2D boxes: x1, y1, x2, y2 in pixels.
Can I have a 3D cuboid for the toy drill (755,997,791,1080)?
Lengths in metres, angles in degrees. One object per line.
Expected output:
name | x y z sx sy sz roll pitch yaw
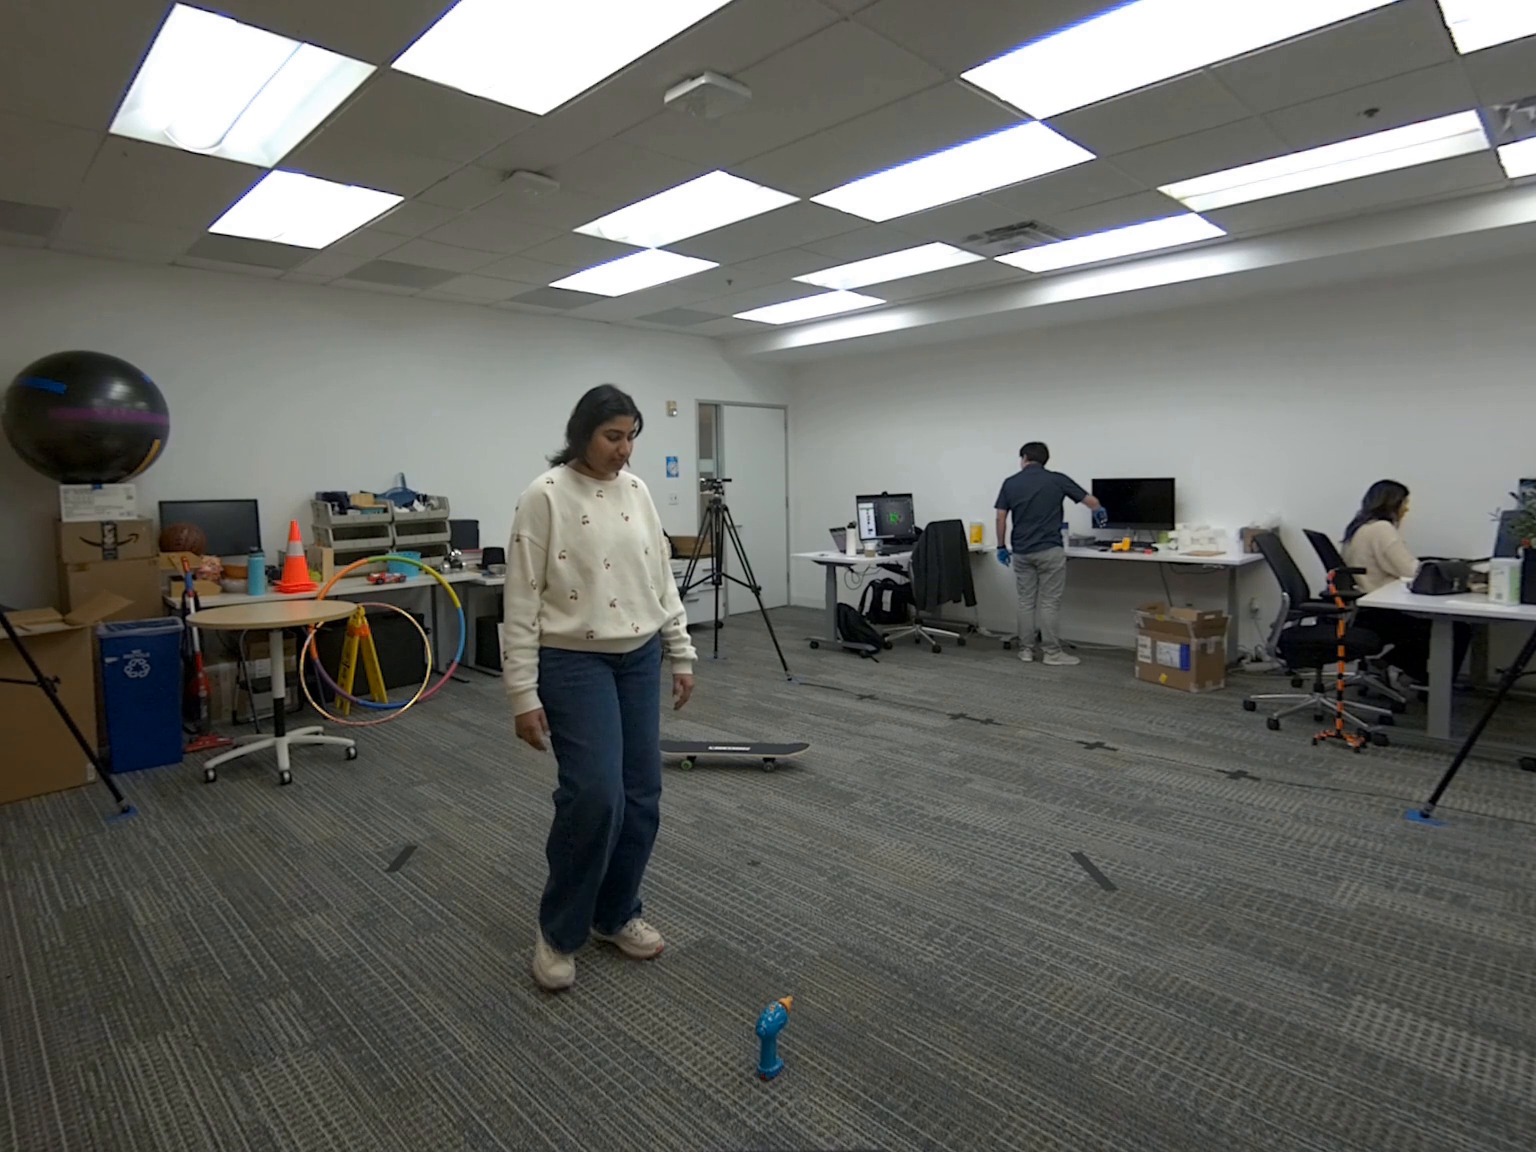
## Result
toy drill | 0.023 1.093 2.051 0.062 0.145 0.167 -1 5 21
